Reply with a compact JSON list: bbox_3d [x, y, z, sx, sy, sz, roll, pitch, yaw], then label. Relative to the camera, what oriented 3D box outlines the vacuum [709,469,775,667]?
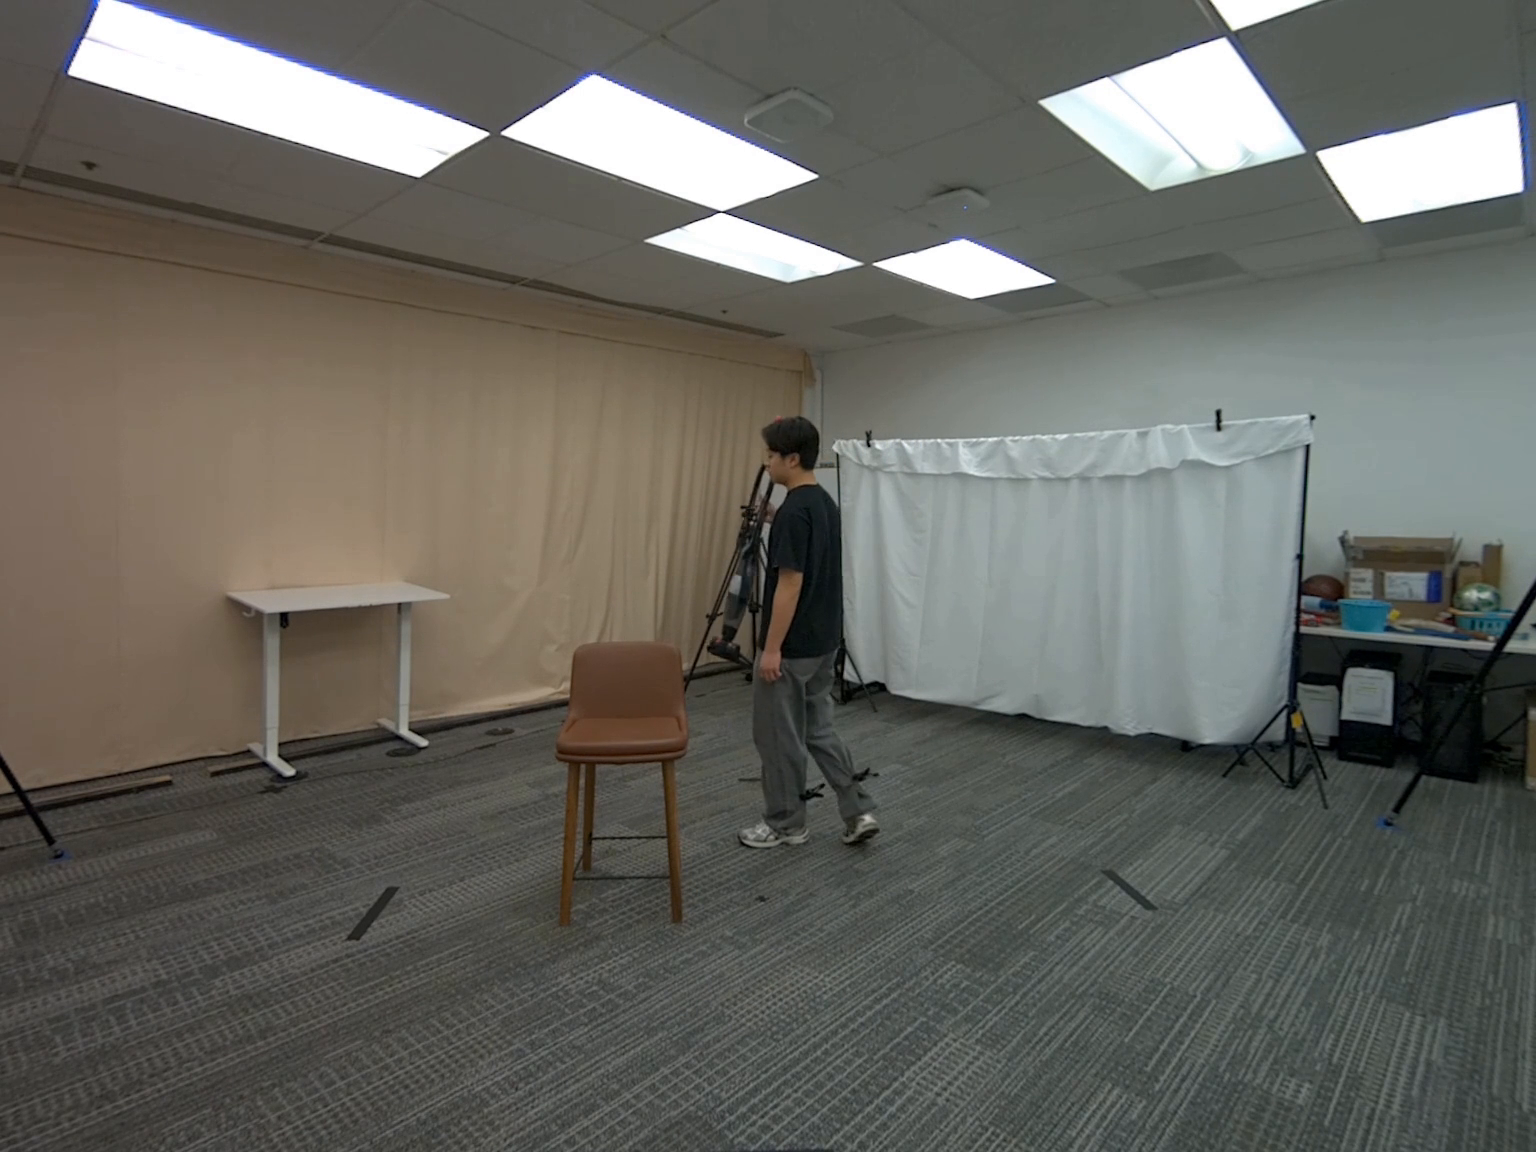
[{"bbox_3d":[-0.065,-0.164,3.677,0.262,1.046,0.139,17,9,42],"label":"vacuum"}]
